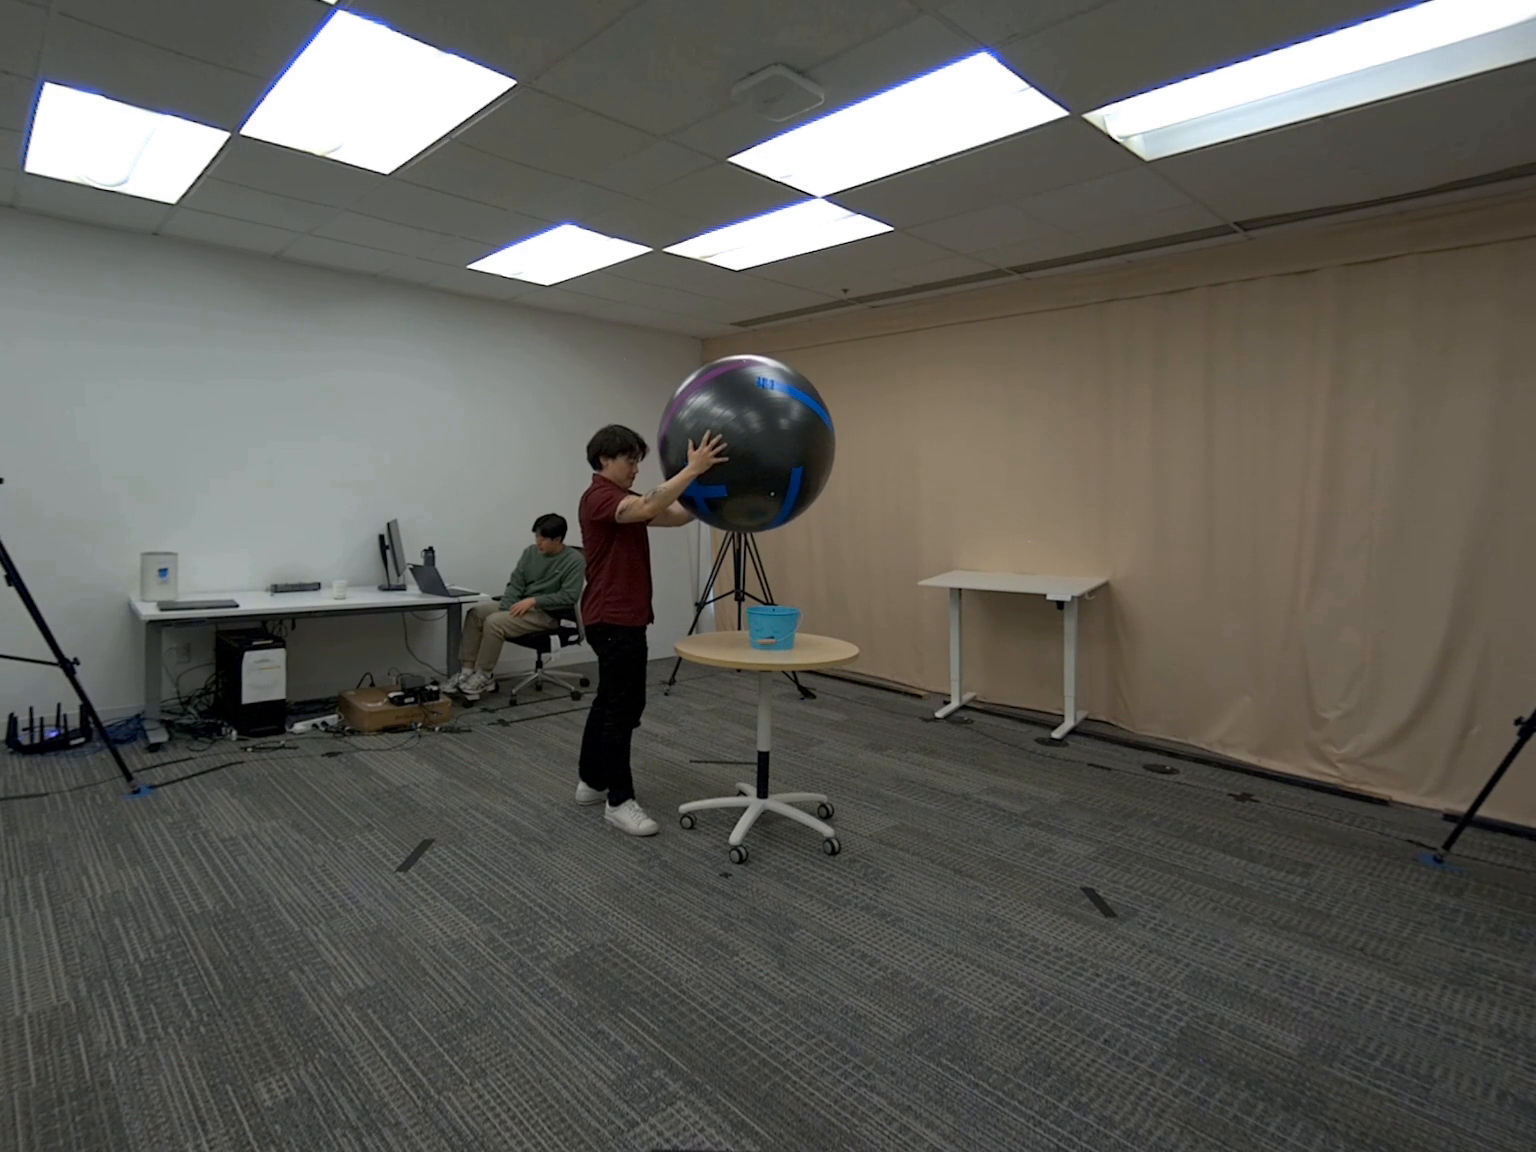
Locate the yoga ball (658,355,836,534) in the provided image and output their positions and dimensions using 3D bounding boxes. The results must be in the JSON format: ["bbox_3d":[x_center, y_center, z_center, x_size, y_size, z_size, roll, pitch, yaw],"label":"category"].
[{"bbox_3d":[-0.103,-0.549,3.617,0.757,0.756,0.761,1,4,-1],"label":"yoga ball"}]
